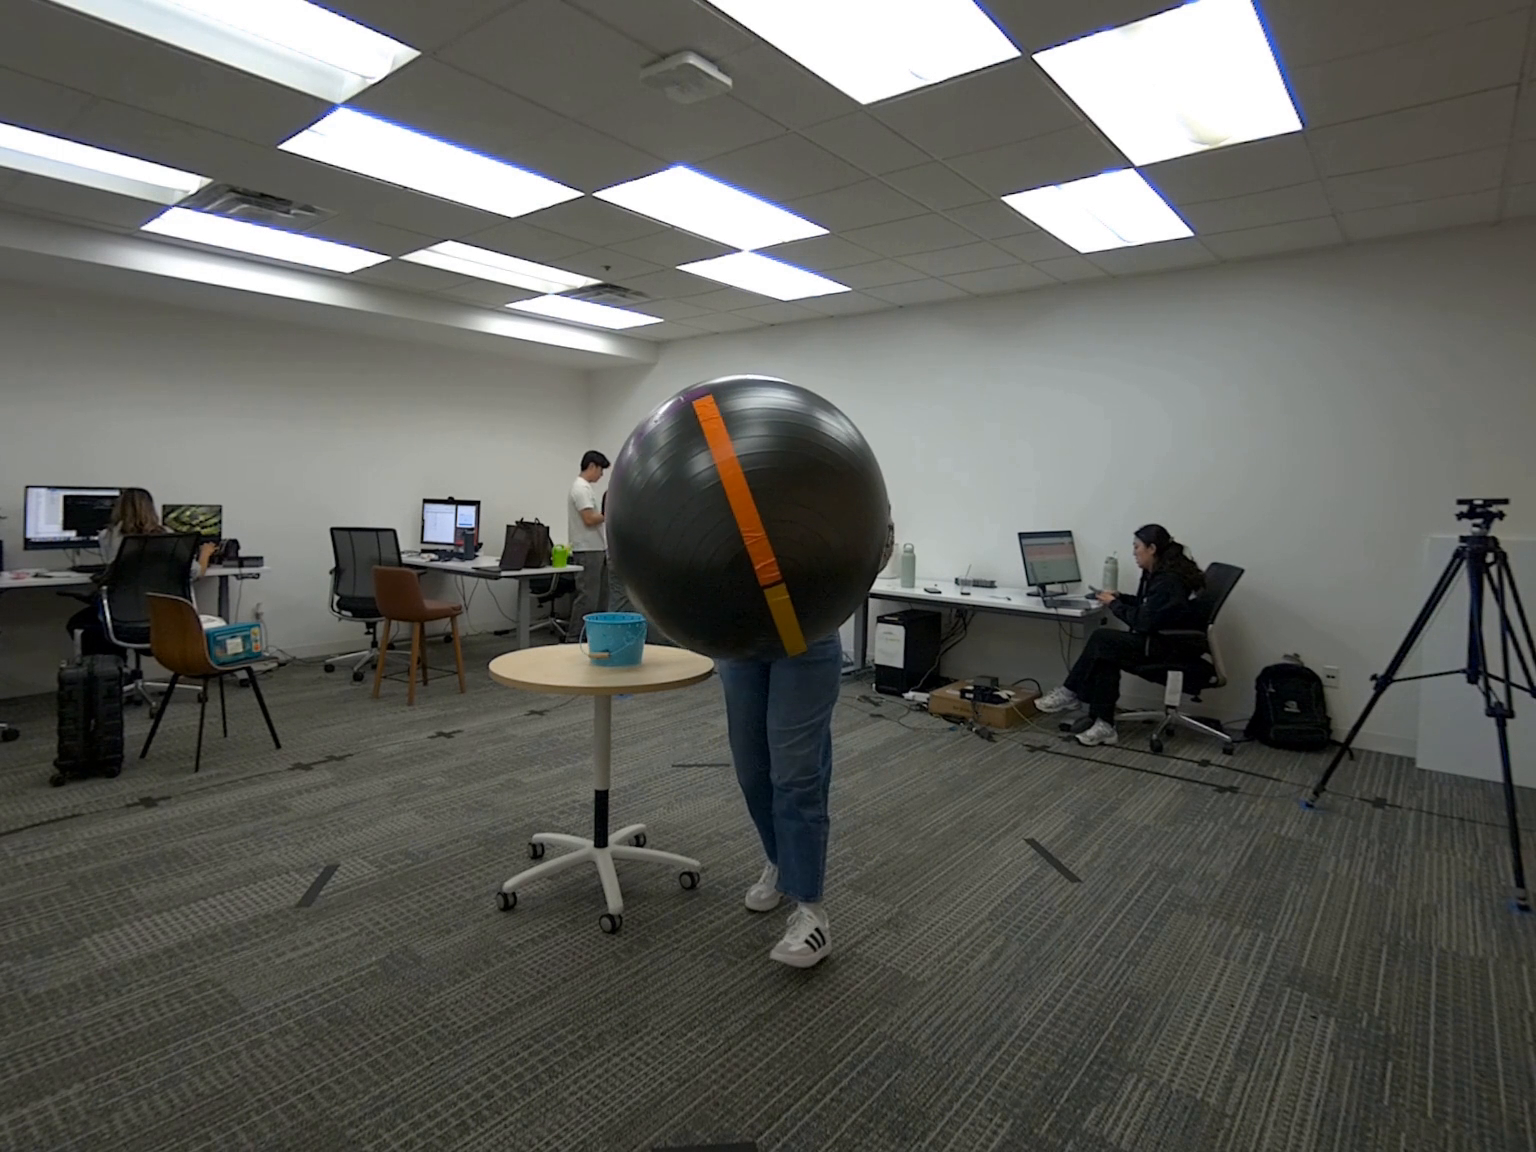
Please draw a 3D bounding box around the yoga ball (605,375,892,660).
[{"bbox_3d":[-0.070,-0.144,2.267,0.757,0.755,0.762,1,4,-2],"label":"yoga ball"}]
